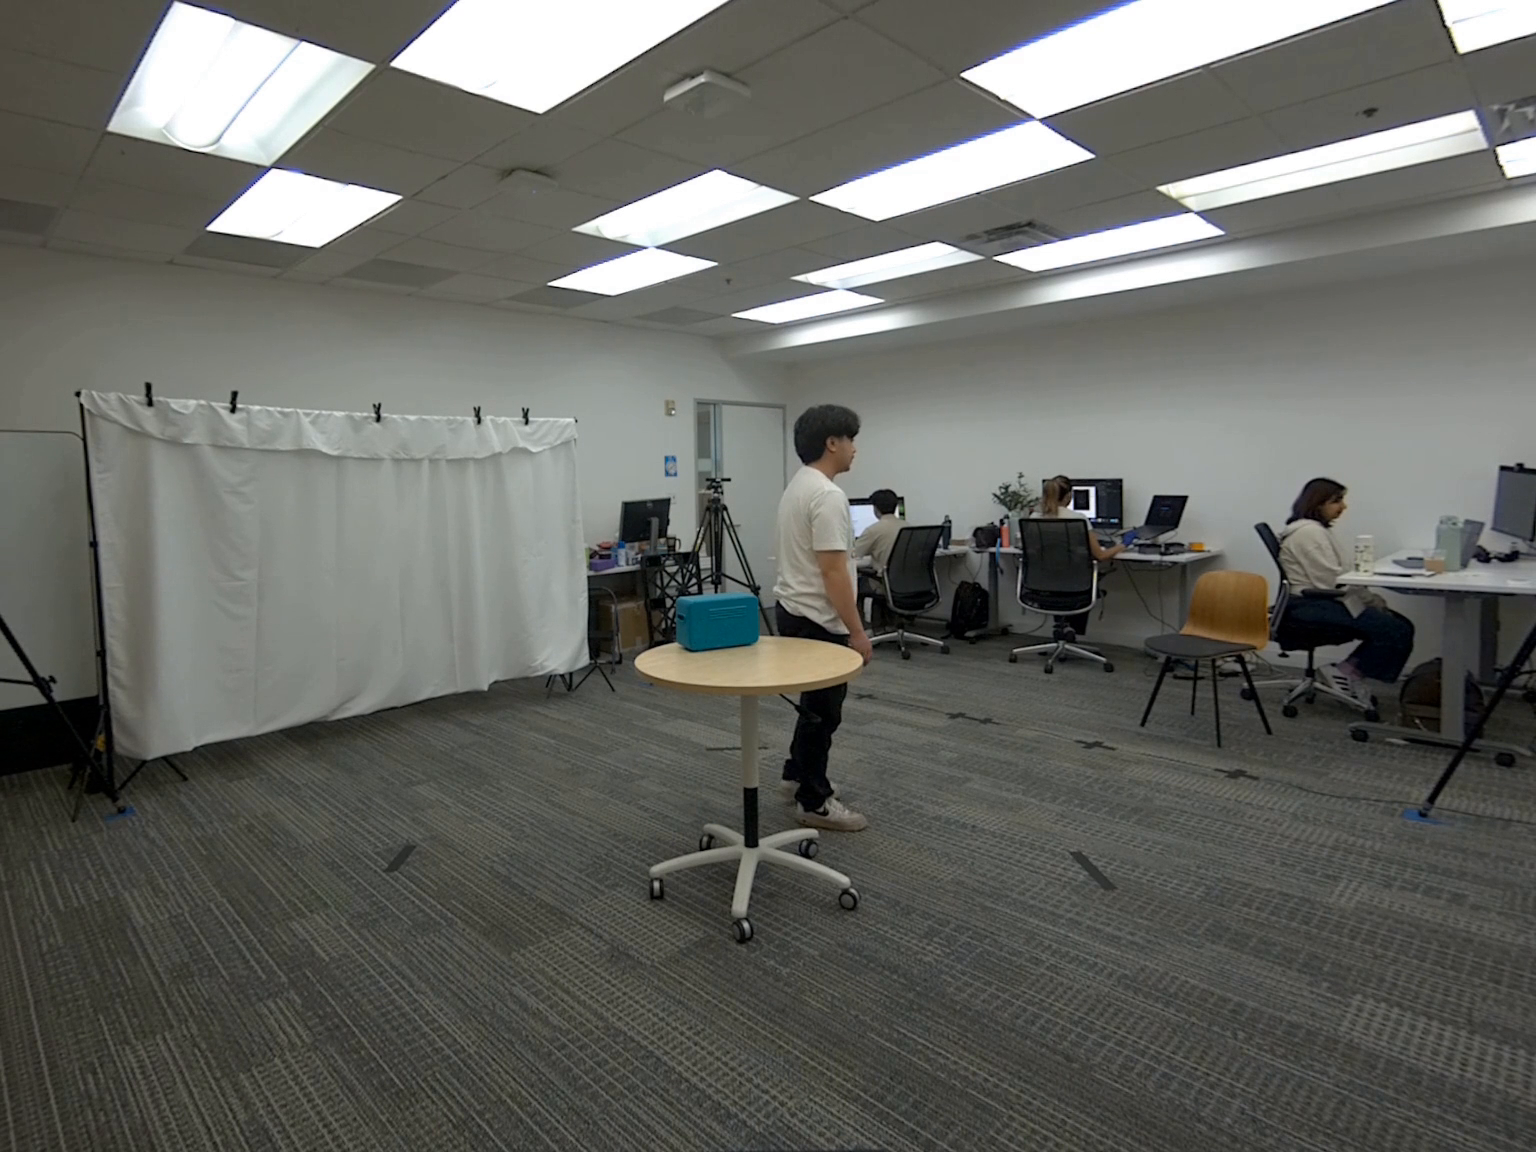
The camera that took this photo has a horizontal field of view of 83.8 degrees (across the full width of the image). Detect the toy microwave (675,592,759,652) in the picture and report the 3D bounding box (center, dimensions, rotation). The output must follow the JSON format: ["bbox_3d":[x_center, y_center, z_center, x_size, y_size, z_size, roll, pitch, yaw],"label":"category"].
[{"bbox_3d":[-0.186,0.160,3.094,0.280,0.183,0.156,-4,6,-28],"label":"toy microwave"}]
